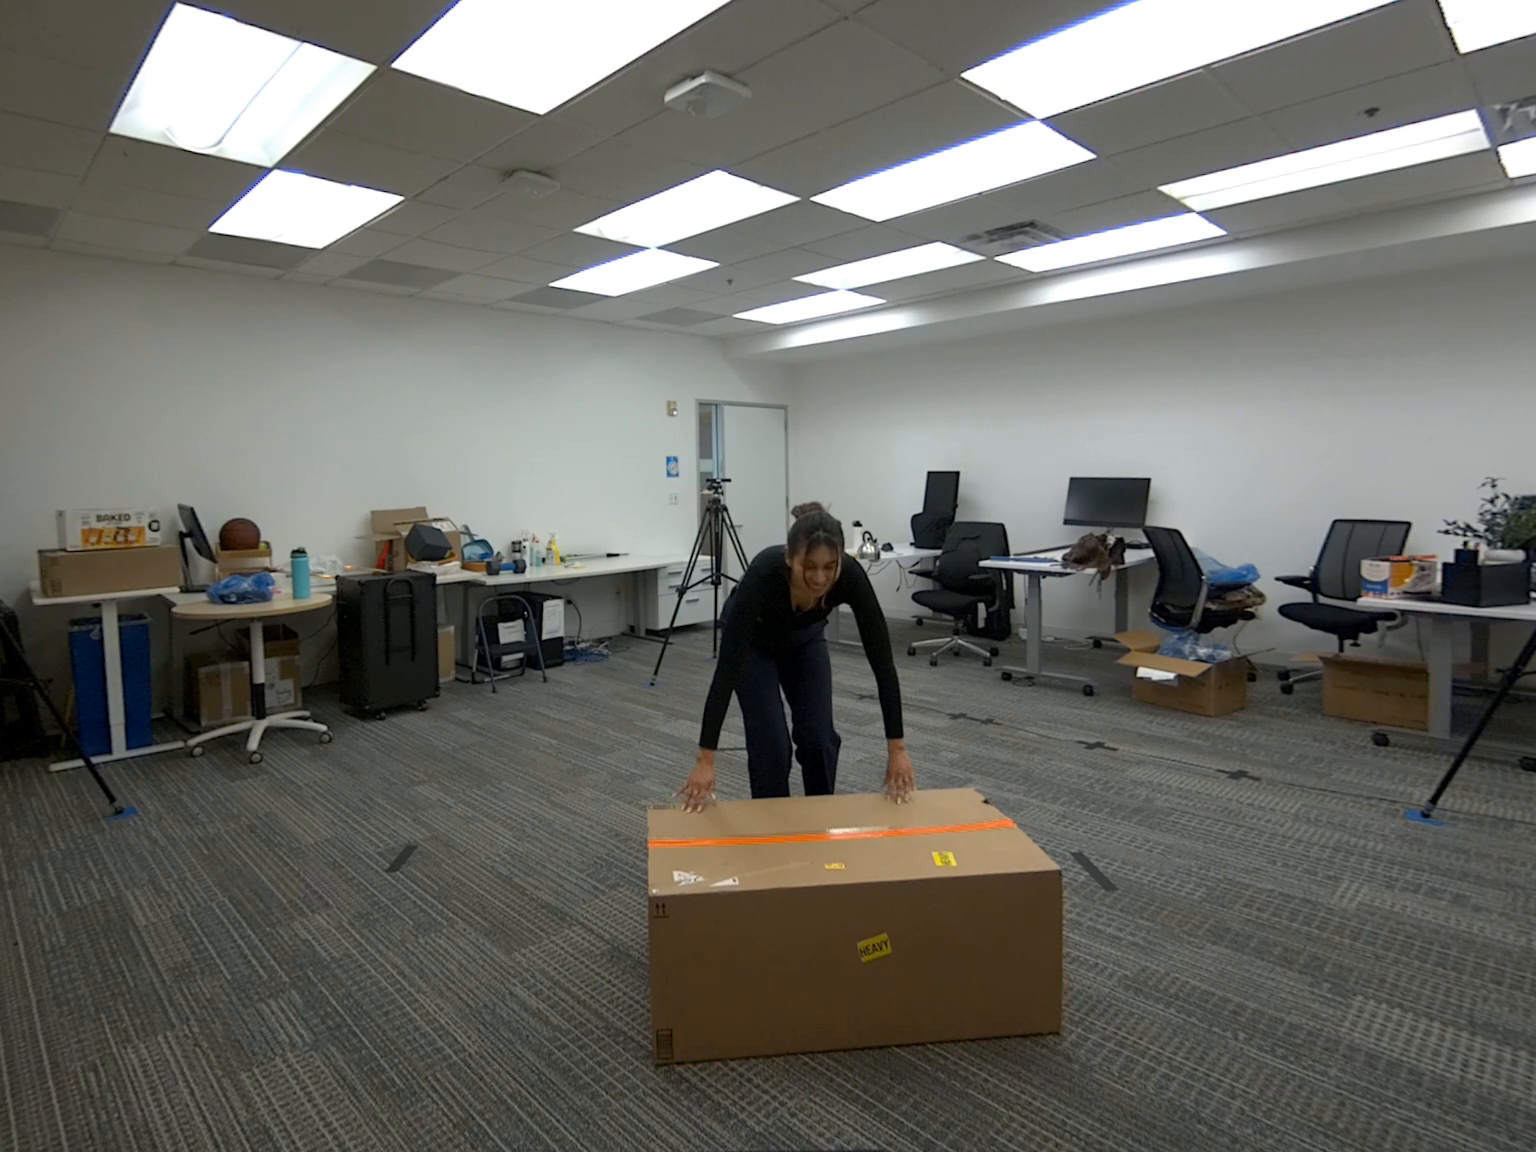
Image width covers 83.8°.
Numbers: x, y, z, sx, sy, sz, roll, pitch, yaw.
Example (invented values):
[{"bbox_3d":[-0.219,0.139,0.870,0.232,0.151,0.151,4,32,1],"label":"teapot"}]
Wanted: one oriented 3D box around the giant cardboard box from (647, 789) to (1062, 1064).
[{"bbox_3d":[0.188,0.907,2.353,1.020,0.425,0.583,-2,5,-6],"label":"giant cardboard box"}]
